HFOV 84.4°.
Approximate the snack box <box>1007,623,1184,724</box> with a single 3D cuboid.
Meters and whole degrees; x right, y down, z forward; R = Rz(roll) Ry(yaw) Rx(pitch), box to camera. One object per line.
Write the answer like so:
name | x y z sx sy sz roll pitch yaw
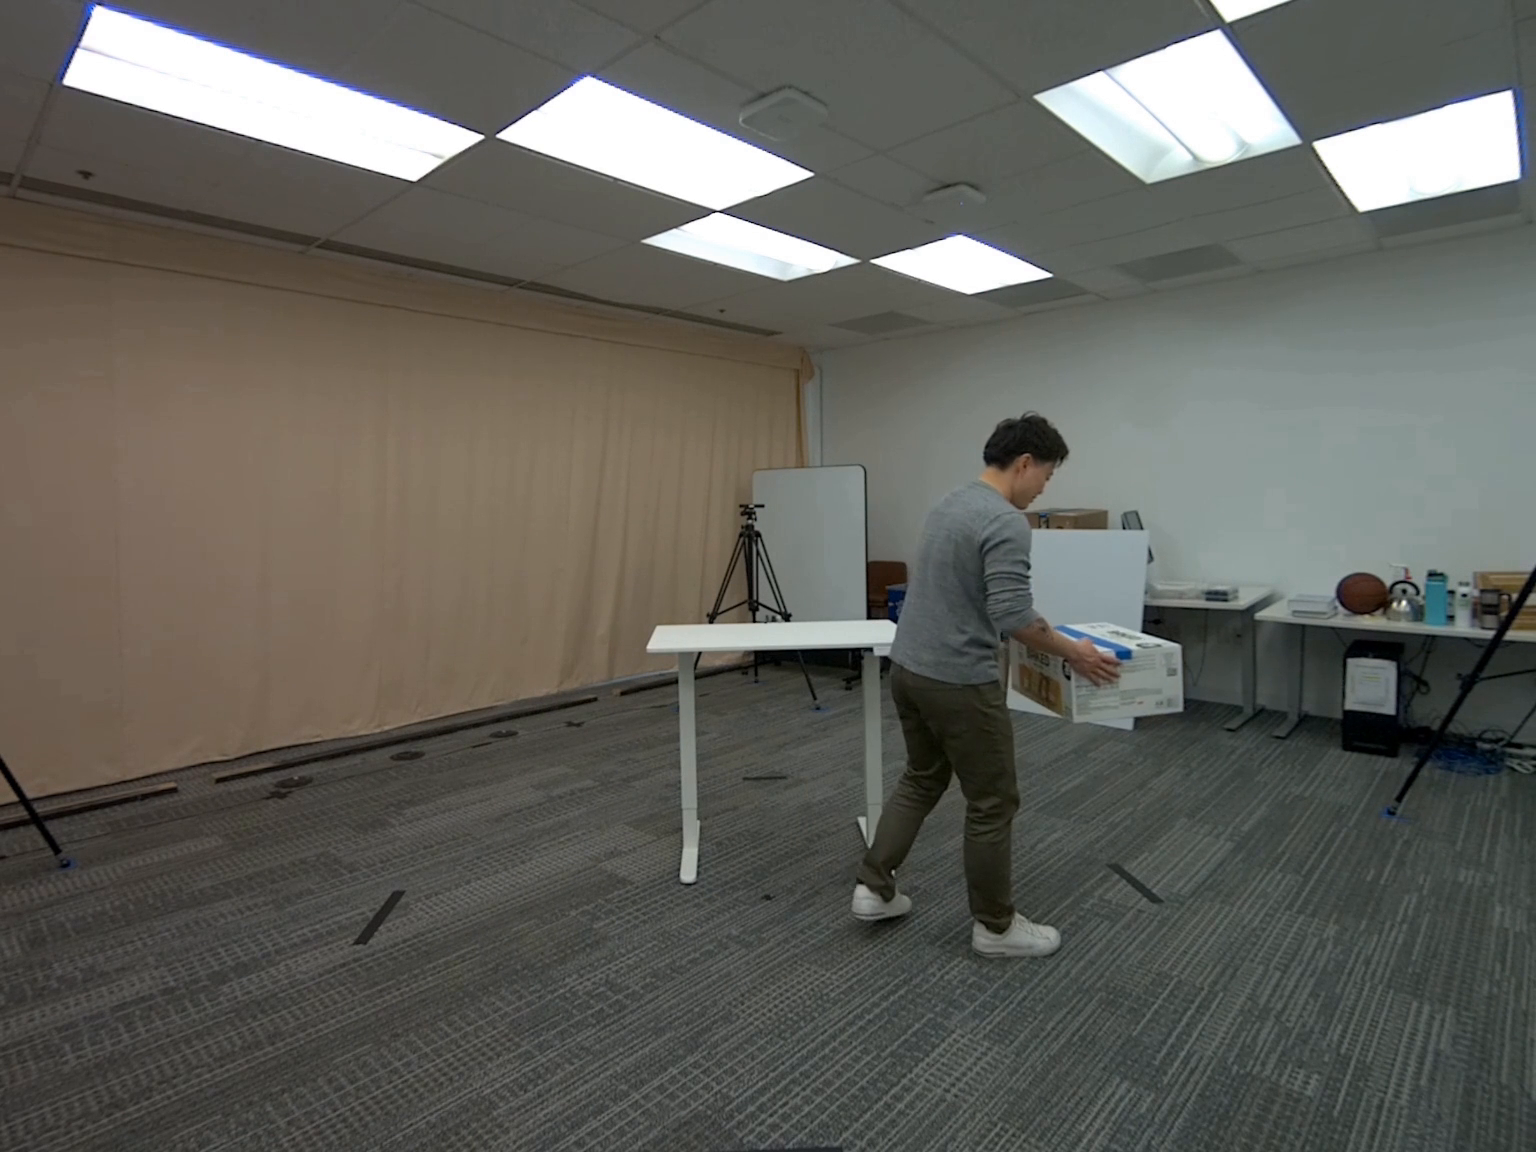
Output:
snack box | 1.022 0.303 2.641 0.338 0.205 0.409 -6 7 -7
